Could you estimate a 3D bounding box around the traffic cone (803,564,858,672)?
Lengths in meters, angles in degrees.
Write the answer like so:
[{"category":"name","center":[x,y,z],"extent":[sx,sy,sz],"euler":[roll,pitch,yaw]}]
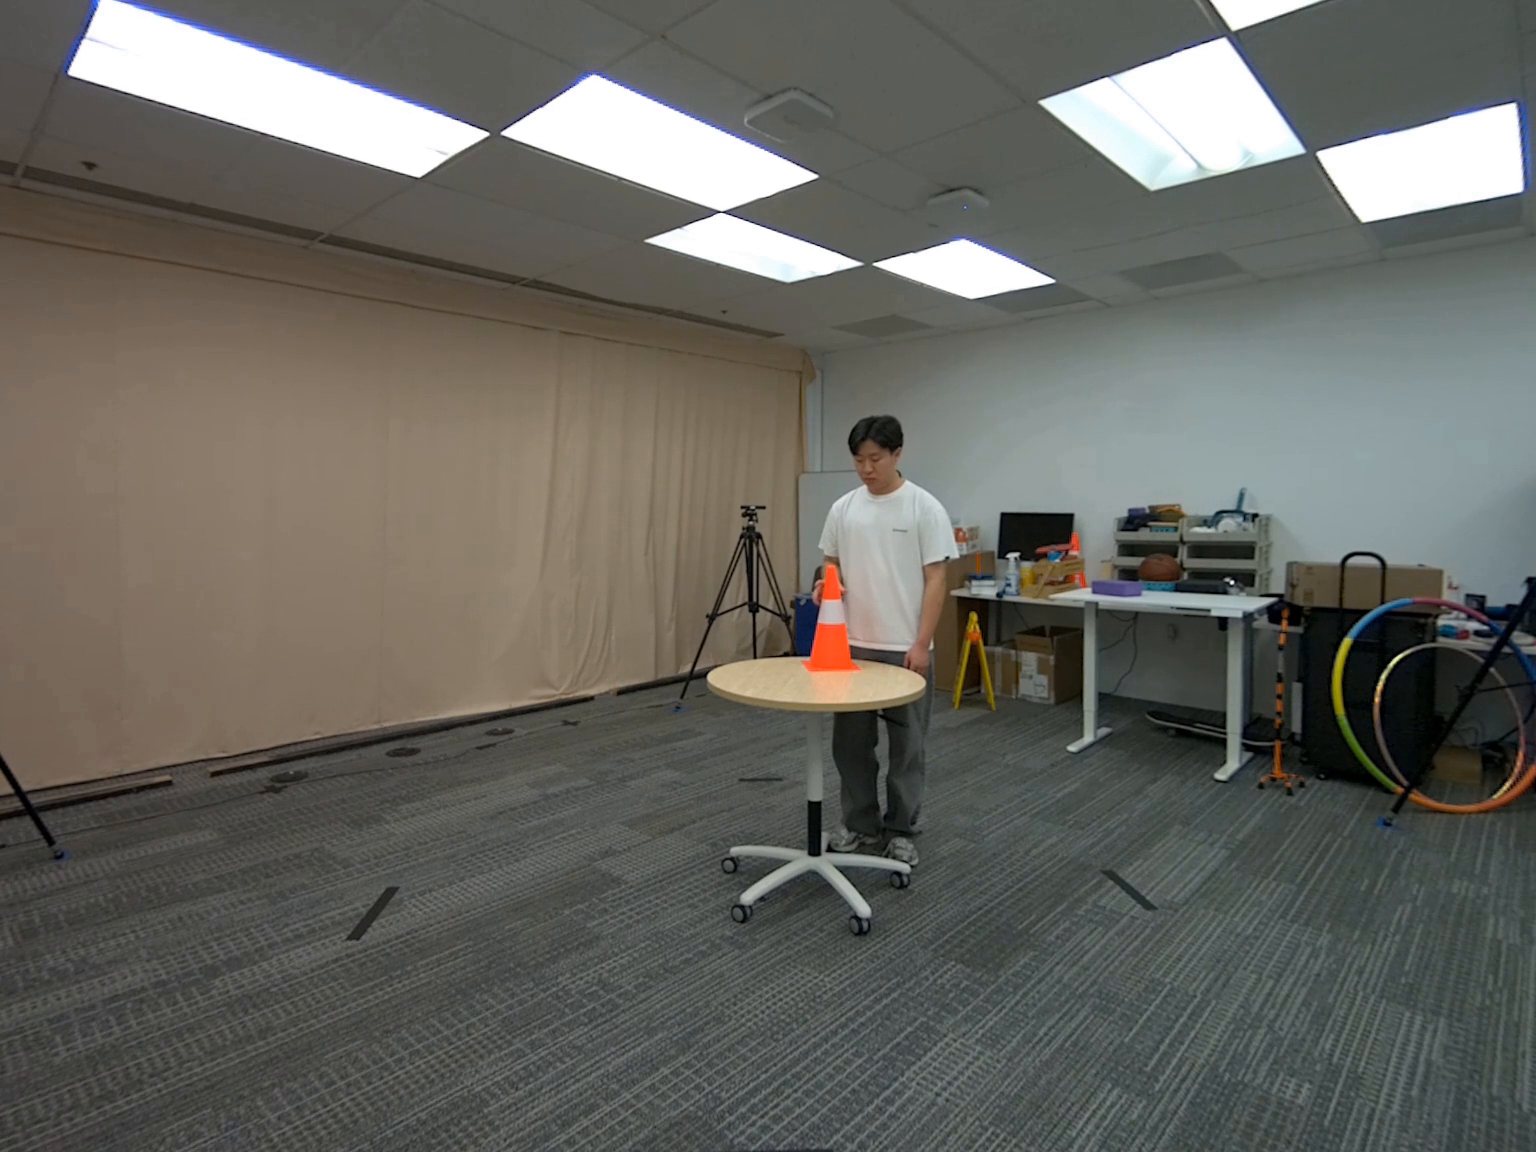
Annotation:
[{"category":"traffic cone","center":[0.250,0.154,3.182],"extent":[0.204,0.383,0.205],"euler":[-2,2,-5]}]
